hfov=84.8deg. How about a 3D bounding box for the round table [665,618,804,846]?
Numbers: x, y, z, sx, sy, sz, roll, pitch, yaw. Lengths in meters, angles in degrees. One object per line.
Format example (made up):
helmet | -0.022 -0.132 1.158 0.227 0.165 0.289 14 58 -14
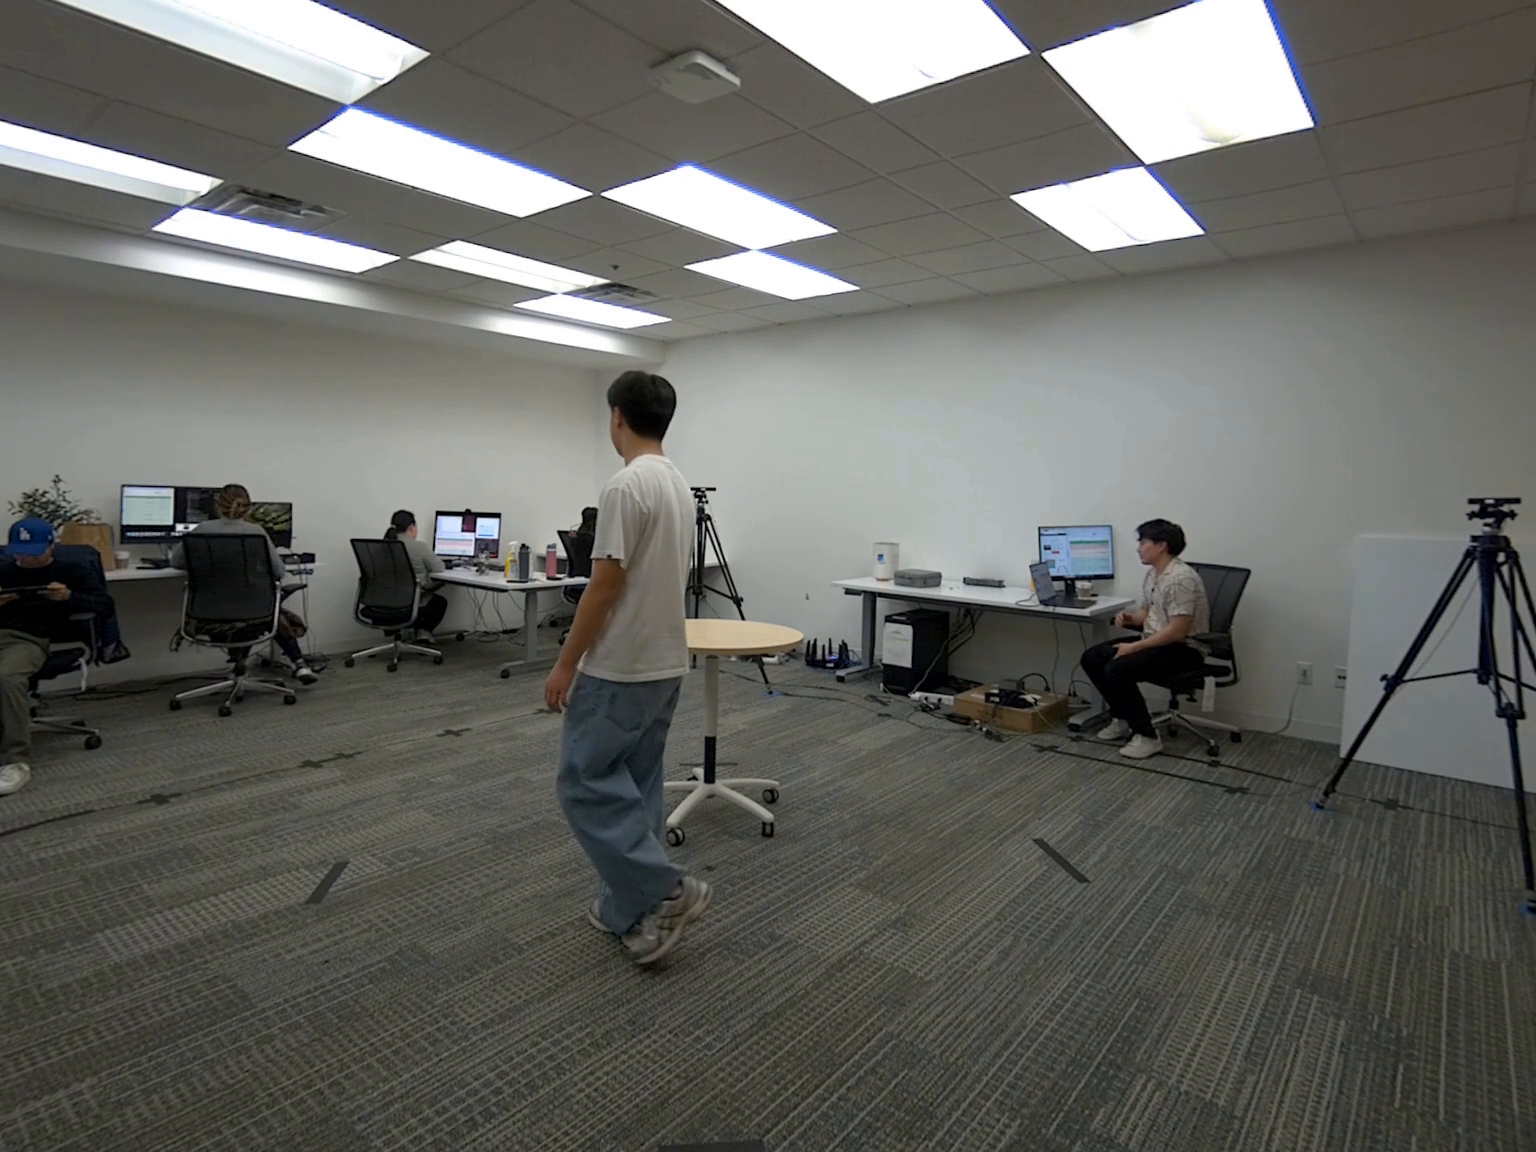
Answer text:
round table | -0.239 0.624 3.613 0.784 0.784 0.789 1 4 -2
